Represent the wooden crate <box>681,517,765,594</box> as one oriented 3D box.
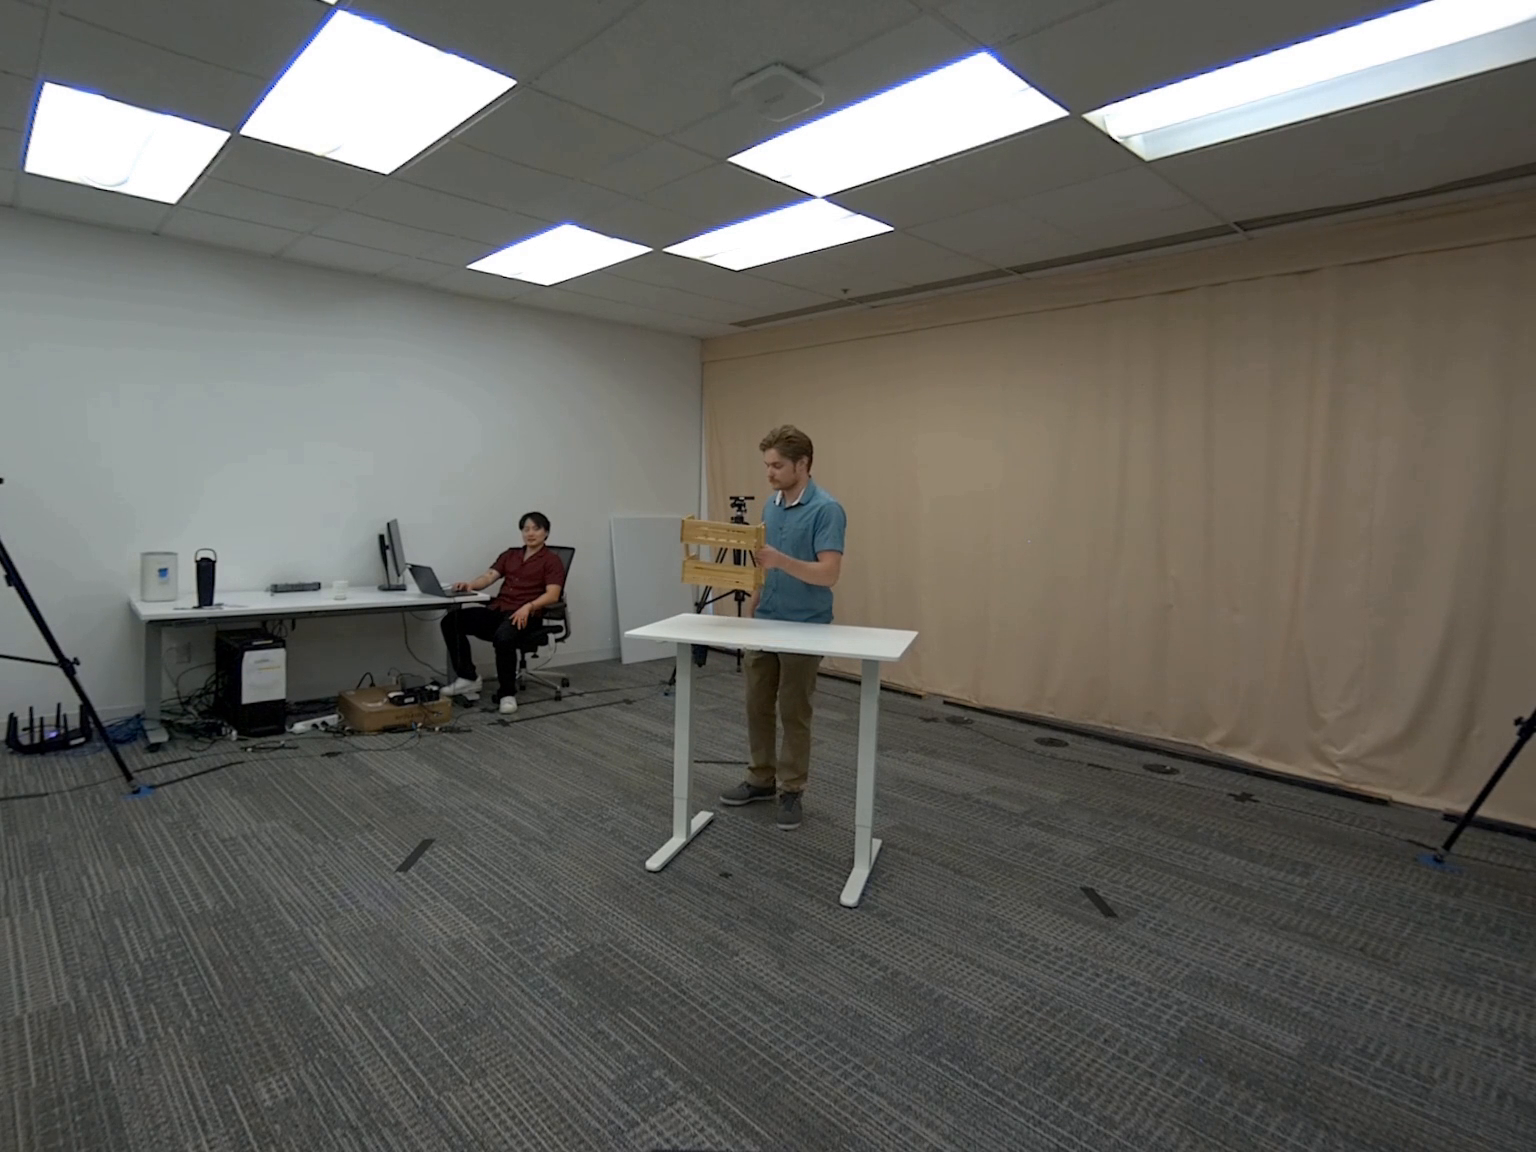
[{"bbox_3d":[-0.178,-0.104,3.373,0.327,0.271,0.301,6,9,8],"label":"wooden crate"}]
